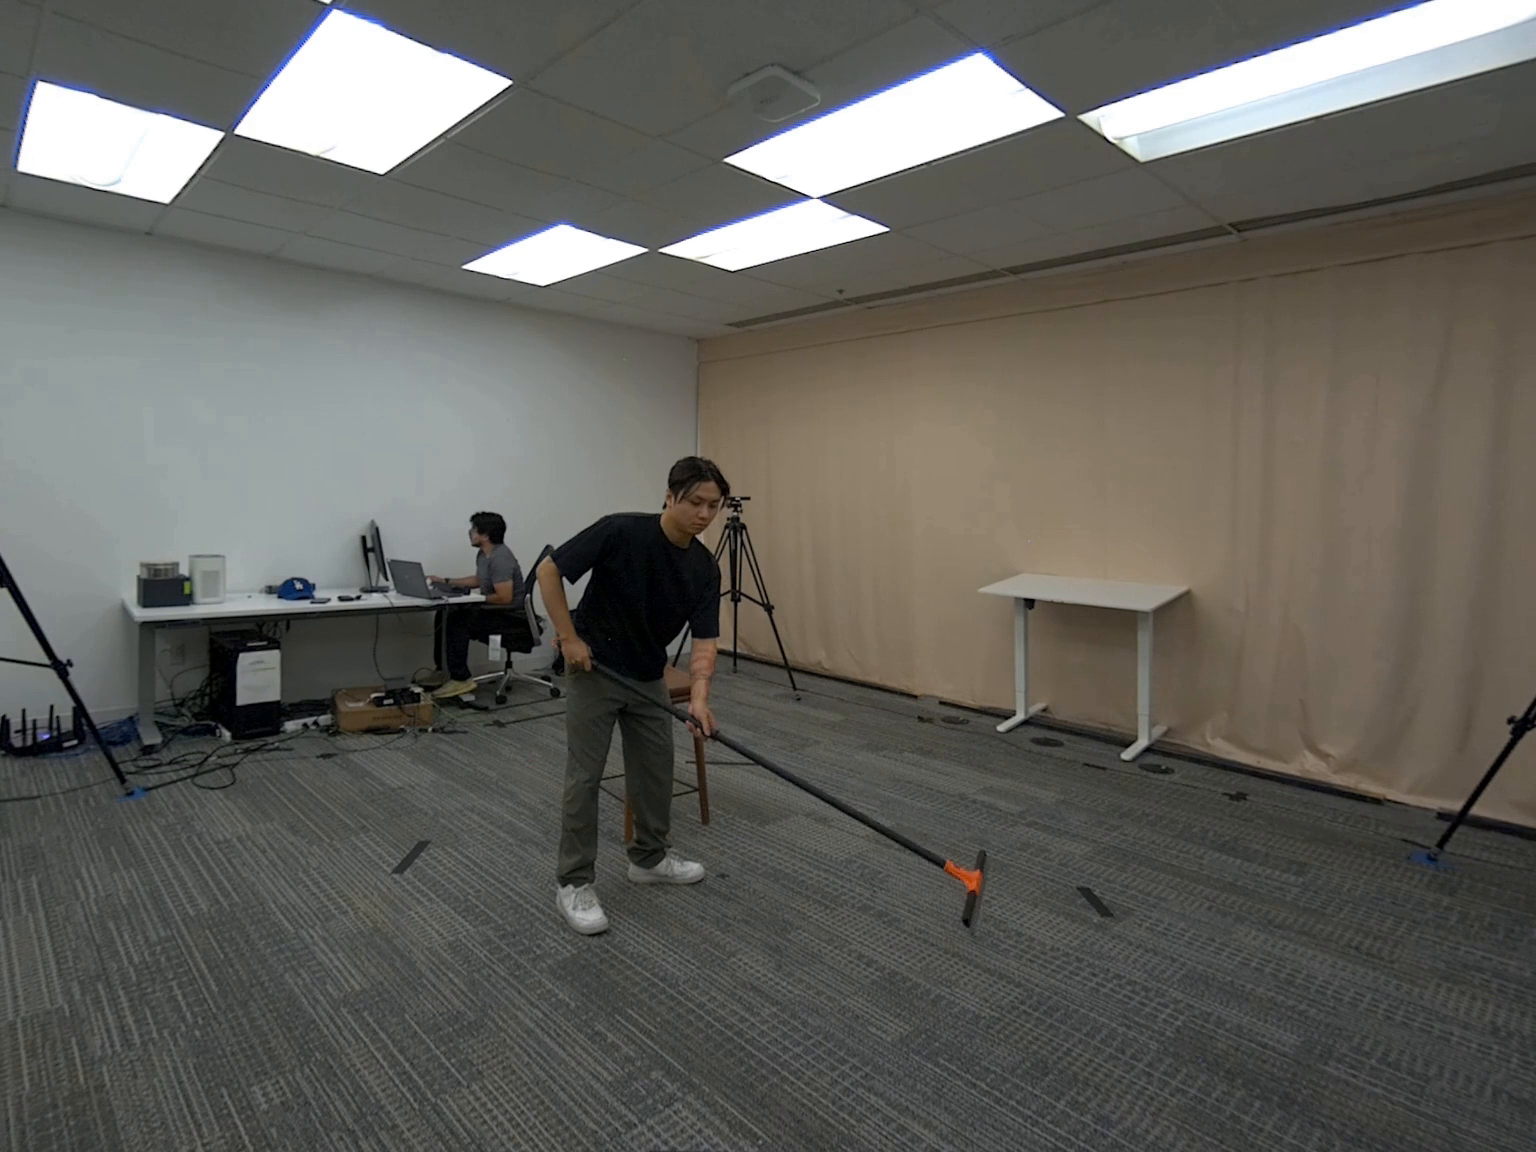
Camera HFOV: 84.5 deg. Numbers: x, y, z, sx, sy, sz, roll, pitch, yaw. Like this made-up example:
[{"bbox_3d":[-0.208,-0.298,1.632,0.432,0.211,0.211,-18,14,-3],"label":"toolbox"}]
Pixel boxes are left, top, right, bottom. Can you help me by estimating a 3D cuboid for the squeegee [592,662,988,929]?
[{"bbox_3d":[-0.036,0.577,2.589,1.567,0.052,0.432,26,16,18],"label":"squeegee"}]
